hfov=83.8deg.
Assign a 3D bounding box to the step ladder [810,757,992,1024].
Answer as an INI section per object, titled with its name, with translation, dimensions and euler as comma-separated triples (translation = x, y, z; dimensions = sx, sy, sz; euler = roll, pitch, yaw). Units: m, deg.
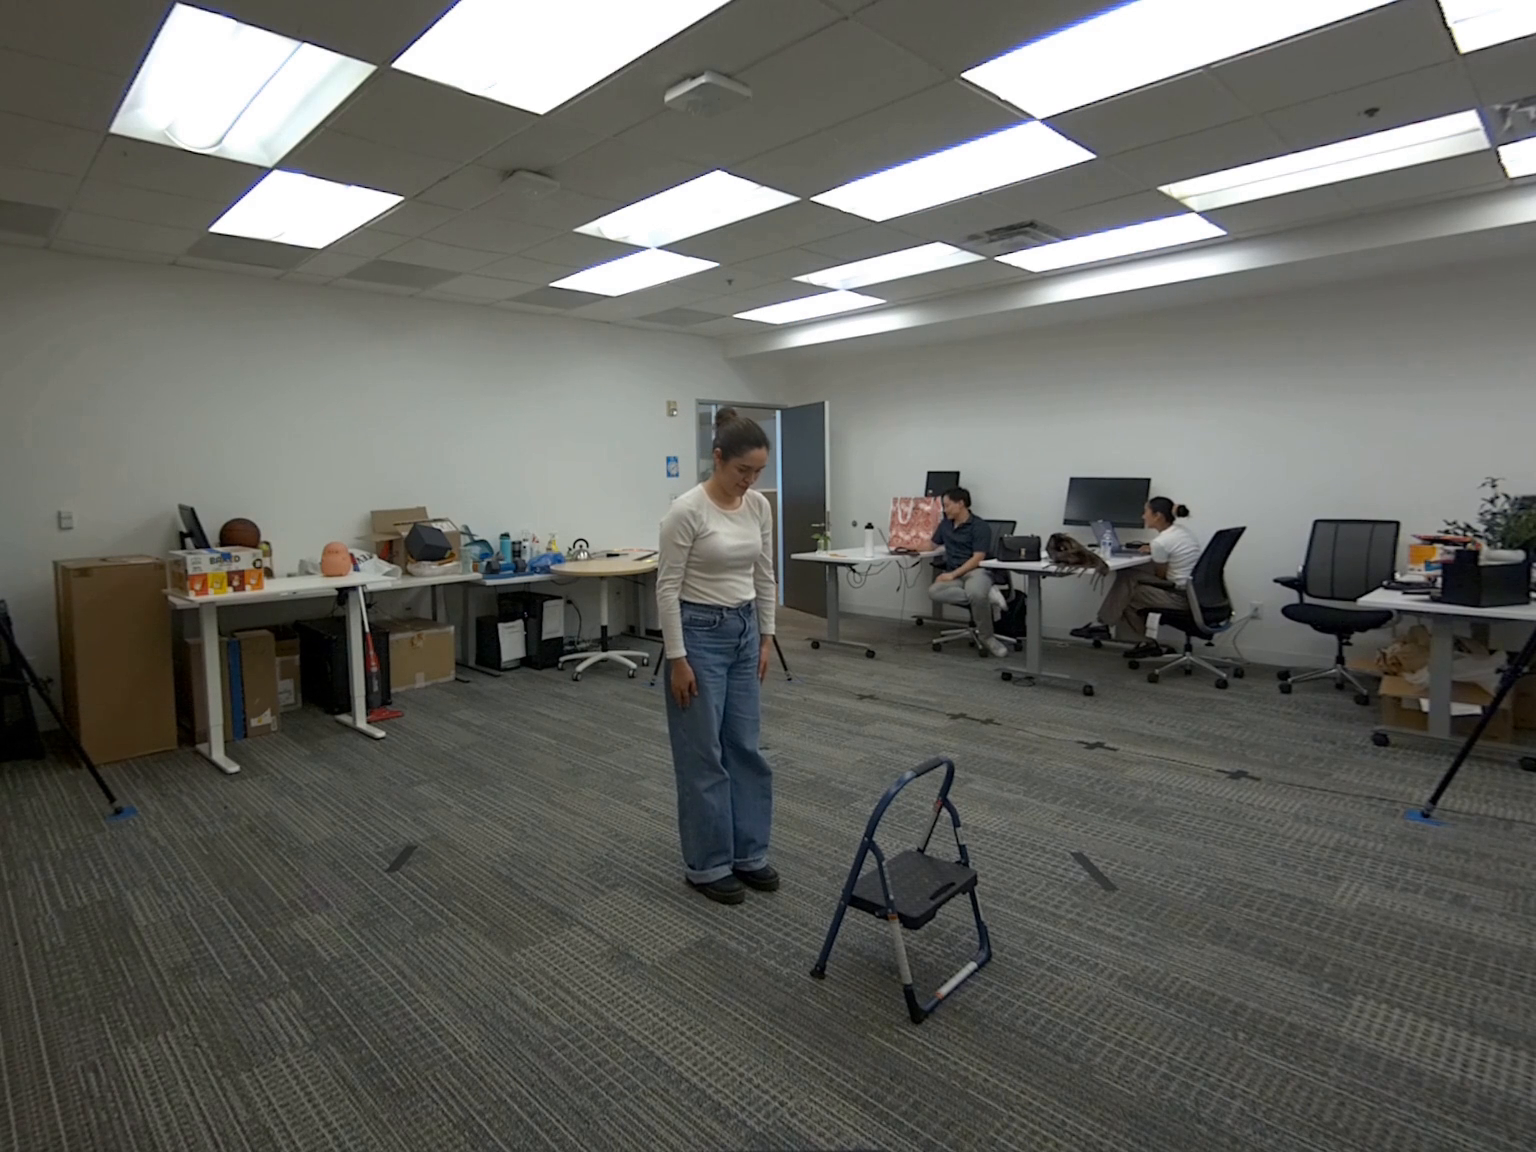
[step ladder]
translation = 0.386, 0.814, 2.418
dimensions = 0.360, 0.604, 0.419
euler = 3, 6, 41
